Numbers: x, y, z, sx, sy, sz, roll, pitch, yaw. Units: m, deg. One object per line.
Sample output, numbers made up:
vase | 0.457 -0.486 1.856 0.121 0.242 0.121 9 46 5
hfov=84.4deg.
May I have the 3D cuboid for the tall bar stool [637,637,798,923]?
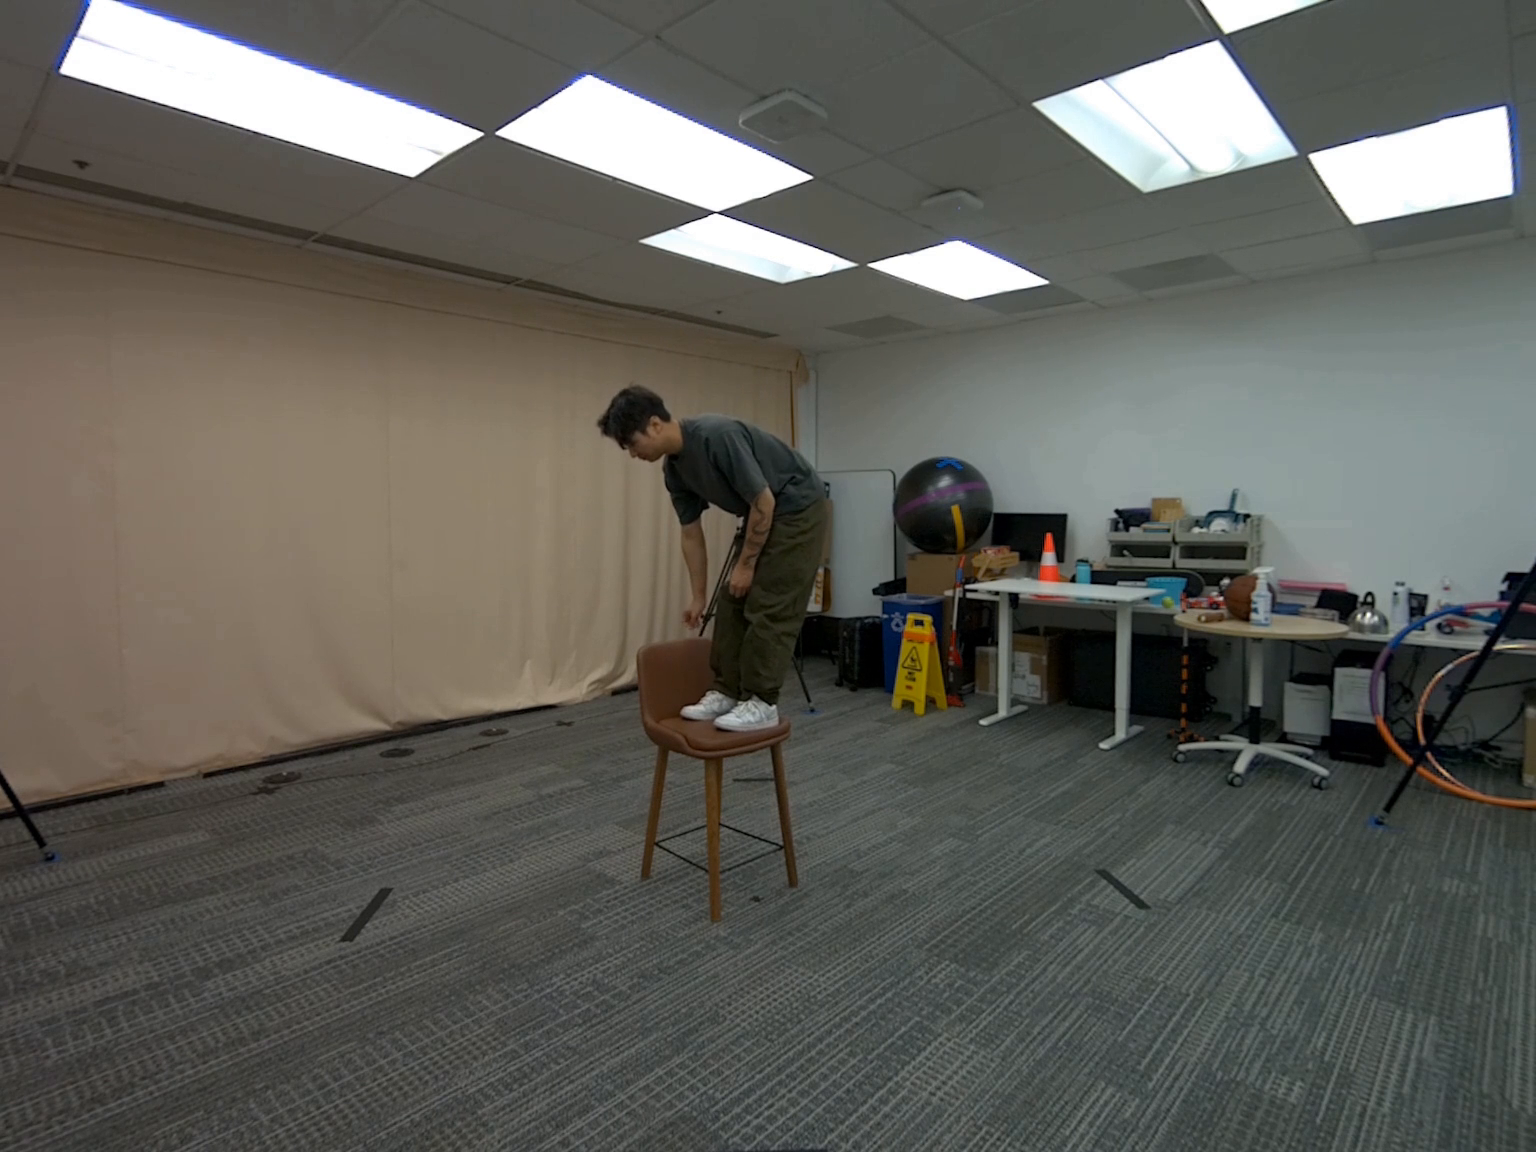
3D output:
tall bar stool | -0.196 0.699 3.095 0.442 0.888 0.483 -4 3 -43
